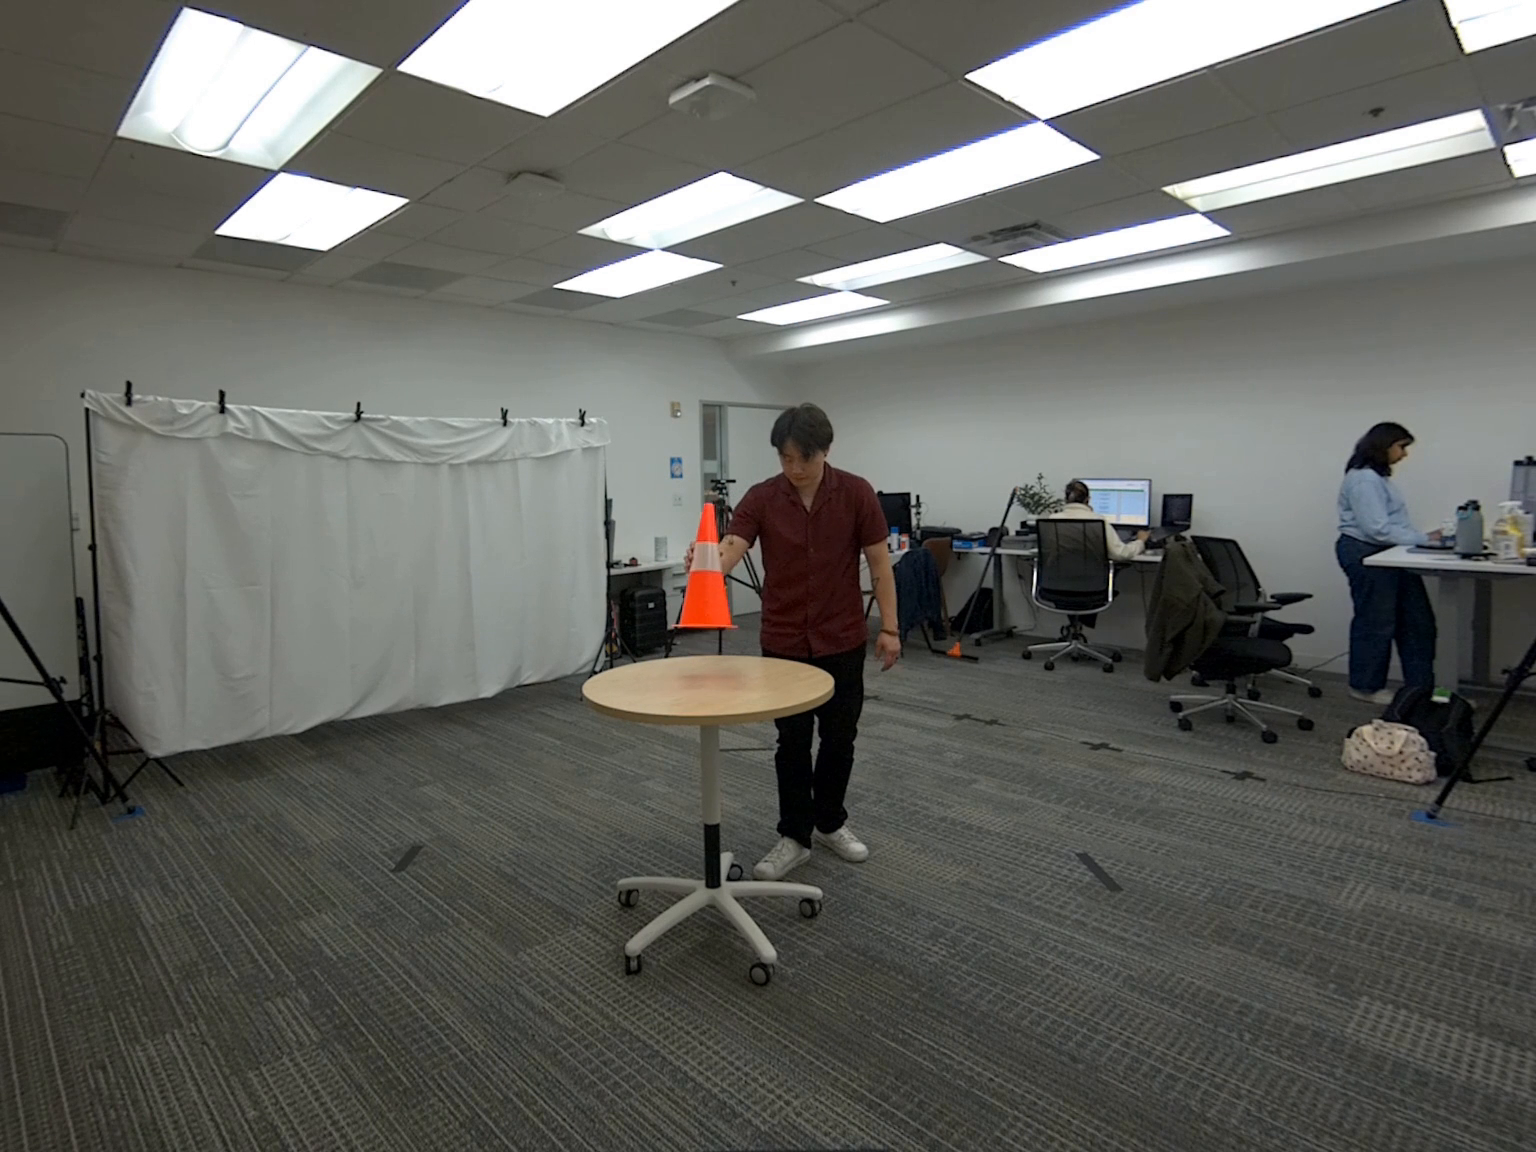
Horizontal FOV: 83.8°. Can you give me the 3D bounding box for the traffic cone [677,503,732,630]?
[{"bbox_3d":[-0.187,-0.027,2.633,0.203,0.386,0.203,2,-7,0],"label":"traffic cone"}]
